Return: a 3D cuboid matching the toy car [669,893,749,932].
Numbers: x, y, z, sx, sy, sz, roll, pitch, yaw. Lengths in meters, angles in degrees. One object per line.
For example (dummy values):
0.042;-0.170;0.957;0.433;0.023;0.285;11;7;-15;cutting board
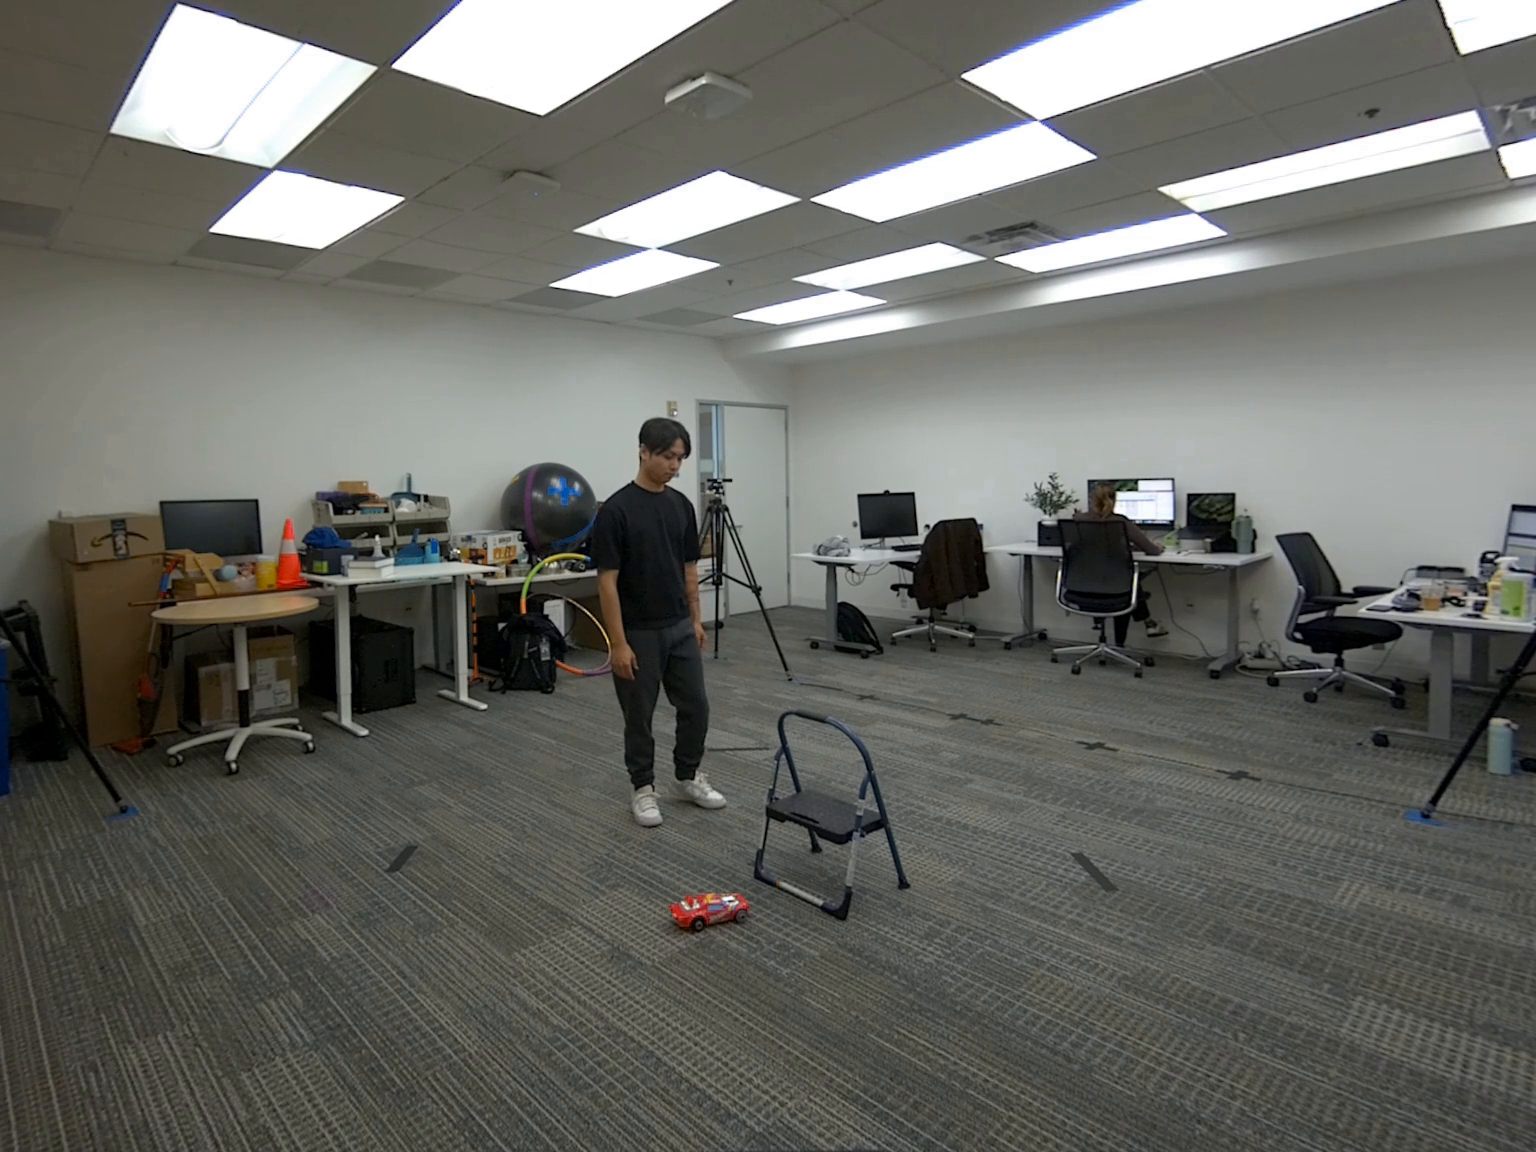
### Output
-0.190;1.063;2.710;0.249;0.083;0.133;9;2;-22;toy car
